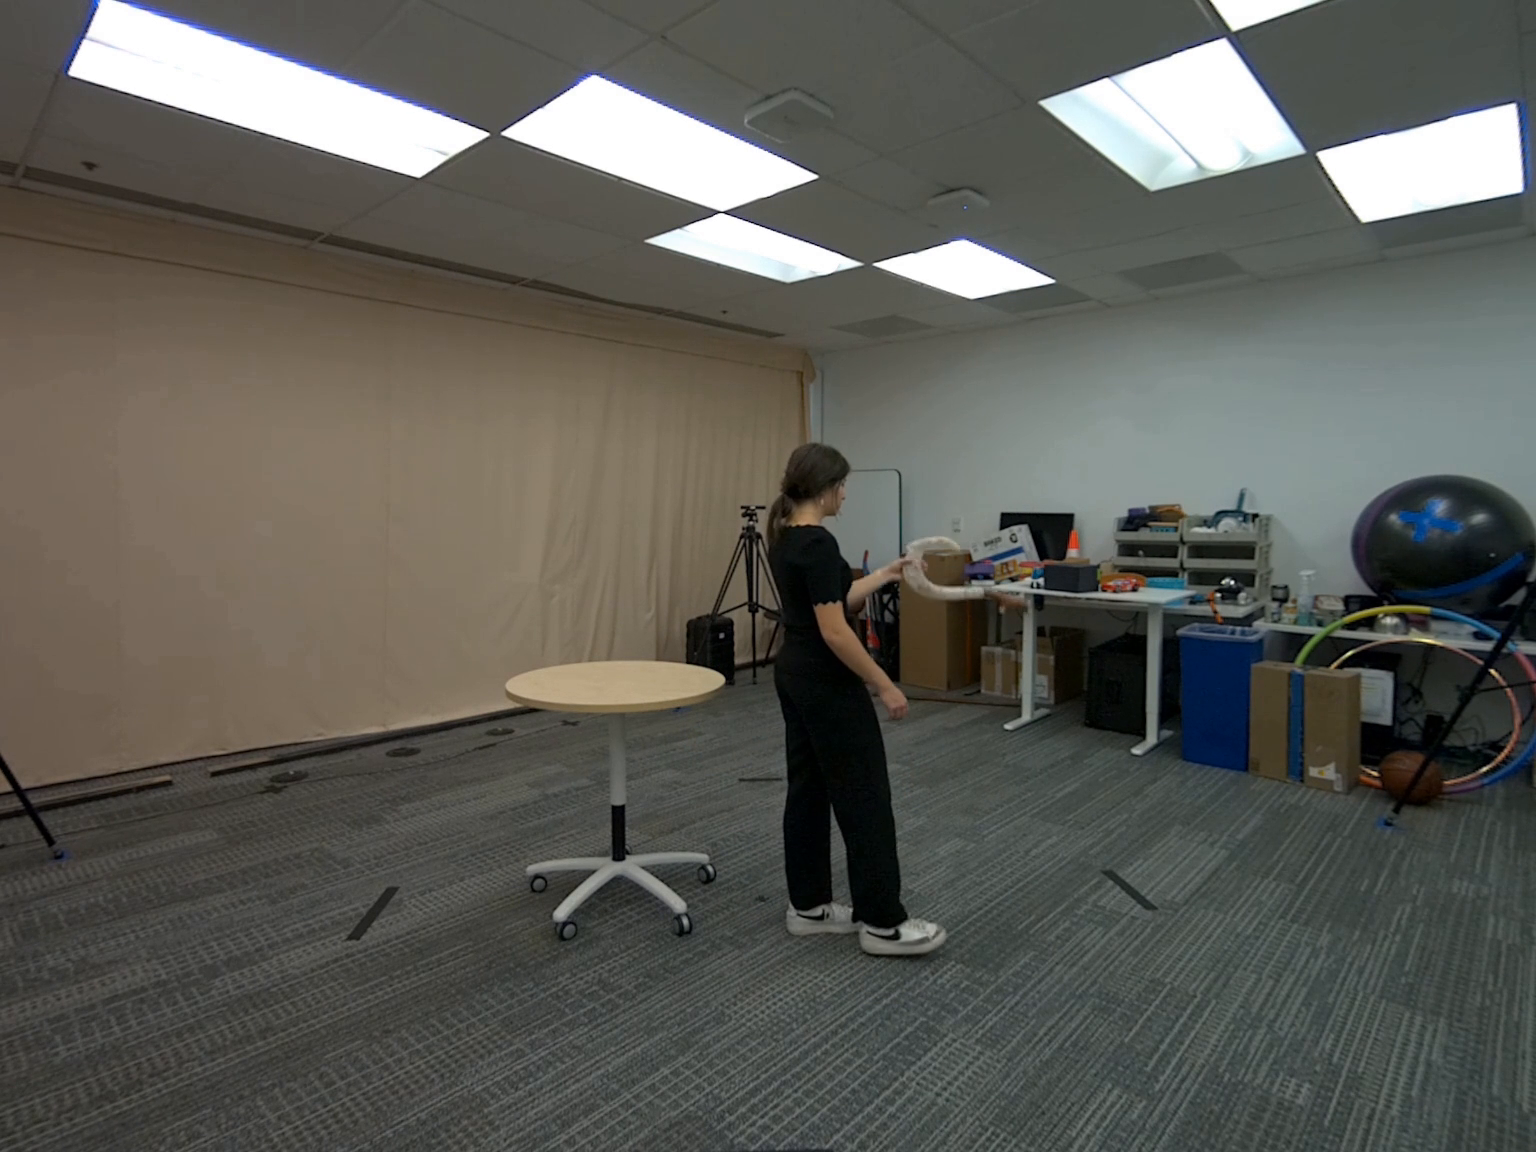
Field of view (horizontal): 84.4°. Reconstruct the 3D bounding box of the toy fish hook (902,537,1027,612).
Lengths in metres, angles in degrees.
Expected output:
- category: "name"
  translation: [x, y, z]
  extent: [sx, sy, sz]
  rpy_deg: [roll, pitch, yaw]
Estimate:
- category: "toy fish hook"
  translation: [0.703, 0.024, 2.968]
  extent: [0.503, 0.224, 0.049]
  rpy_deg: [15, 8, -6]
